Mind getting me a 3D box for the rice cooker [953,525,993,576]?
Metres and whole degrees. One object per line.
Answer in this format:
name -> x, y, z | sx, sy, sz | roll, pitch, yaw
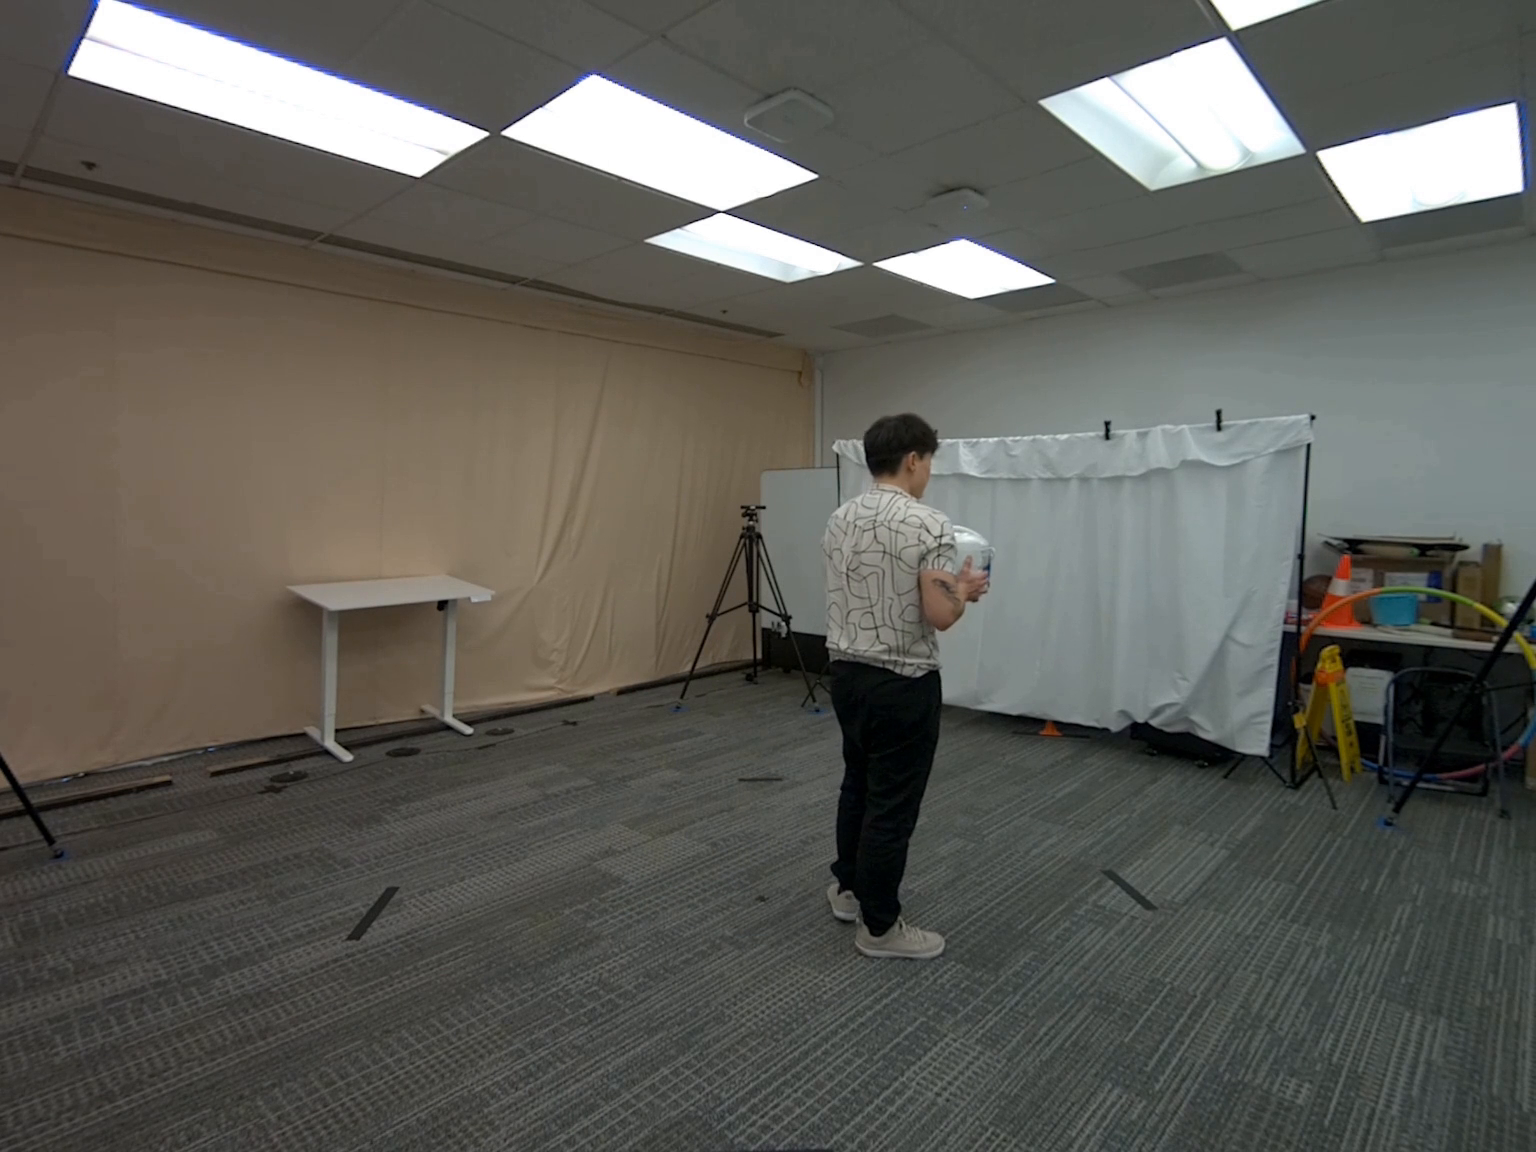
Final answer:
rice cooker -> 0.595, -0.047, 2.725 | 0.227, 0.232, 0.211 | 3, 5, 34
